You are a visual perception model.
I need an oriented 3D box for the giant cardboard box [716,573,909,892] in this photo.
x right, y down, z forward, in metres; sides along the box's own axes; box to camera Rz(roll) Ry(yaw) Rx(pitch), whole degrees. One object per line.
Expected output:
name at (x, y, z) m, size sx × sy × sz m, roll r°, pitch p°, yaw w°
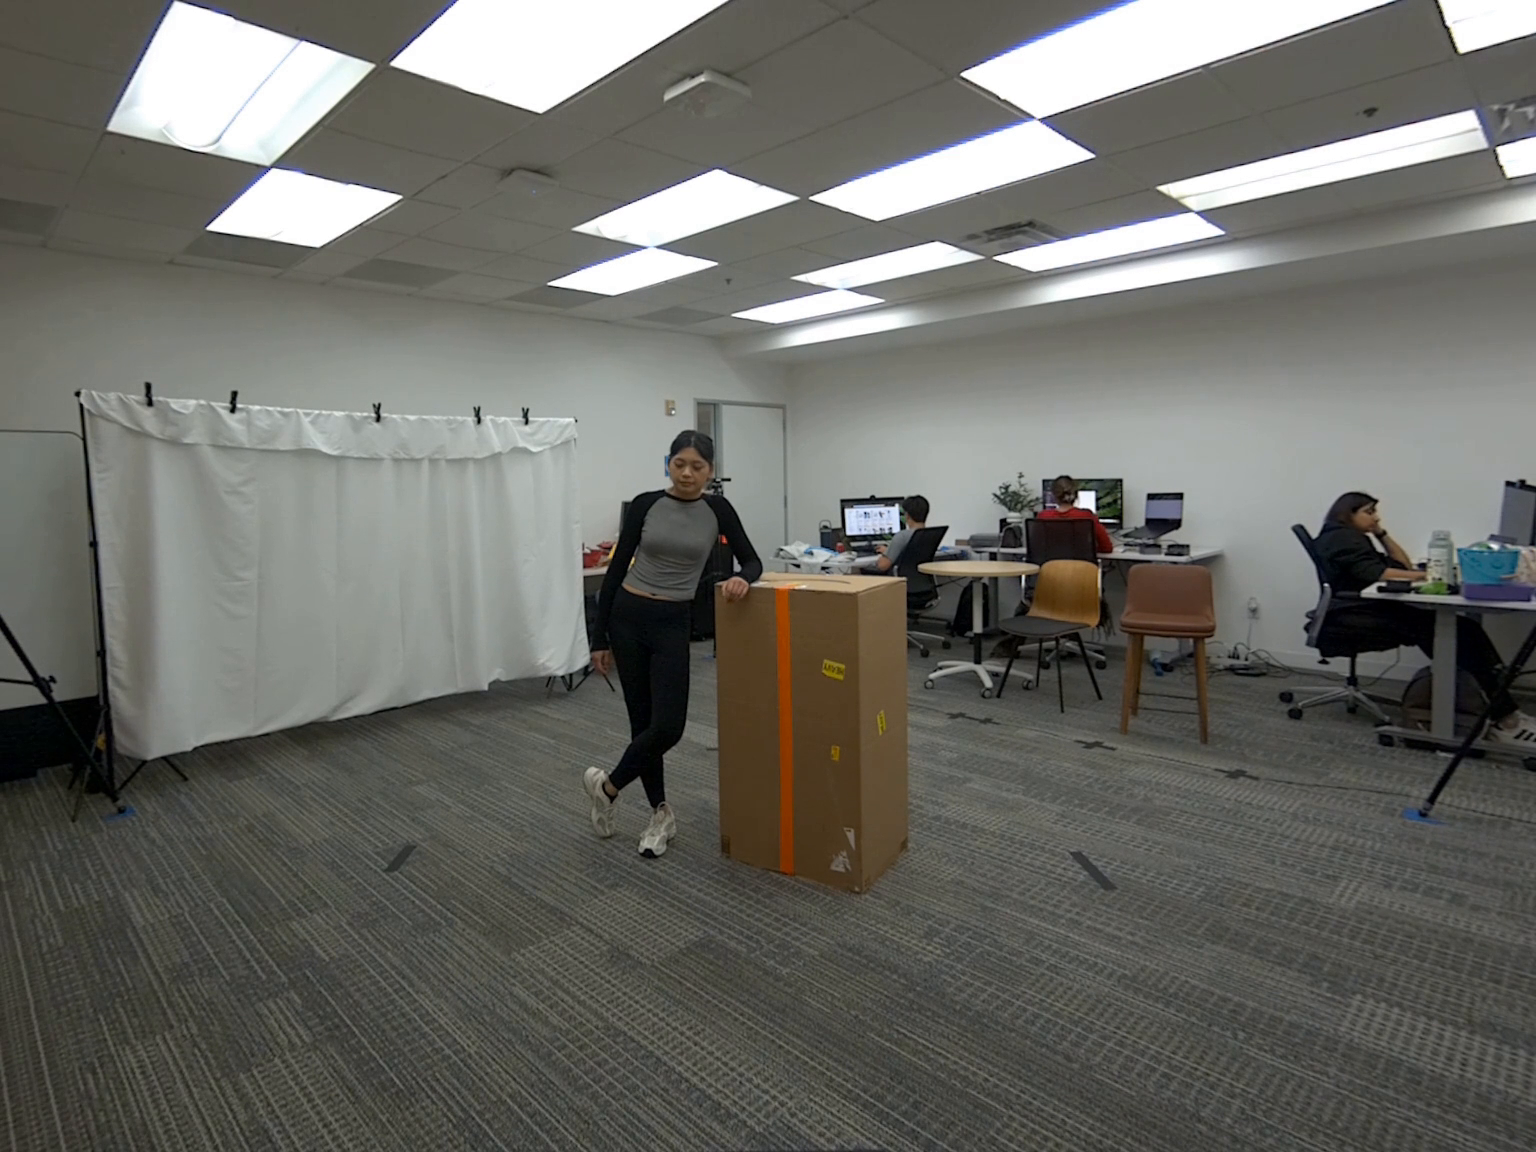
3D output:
giant cardboard box at (0.170, 0.524, 3.150) m, size 0.593 × 1.022 × 0.416 m, roll 1°, pitch 4°, yaw 33°
